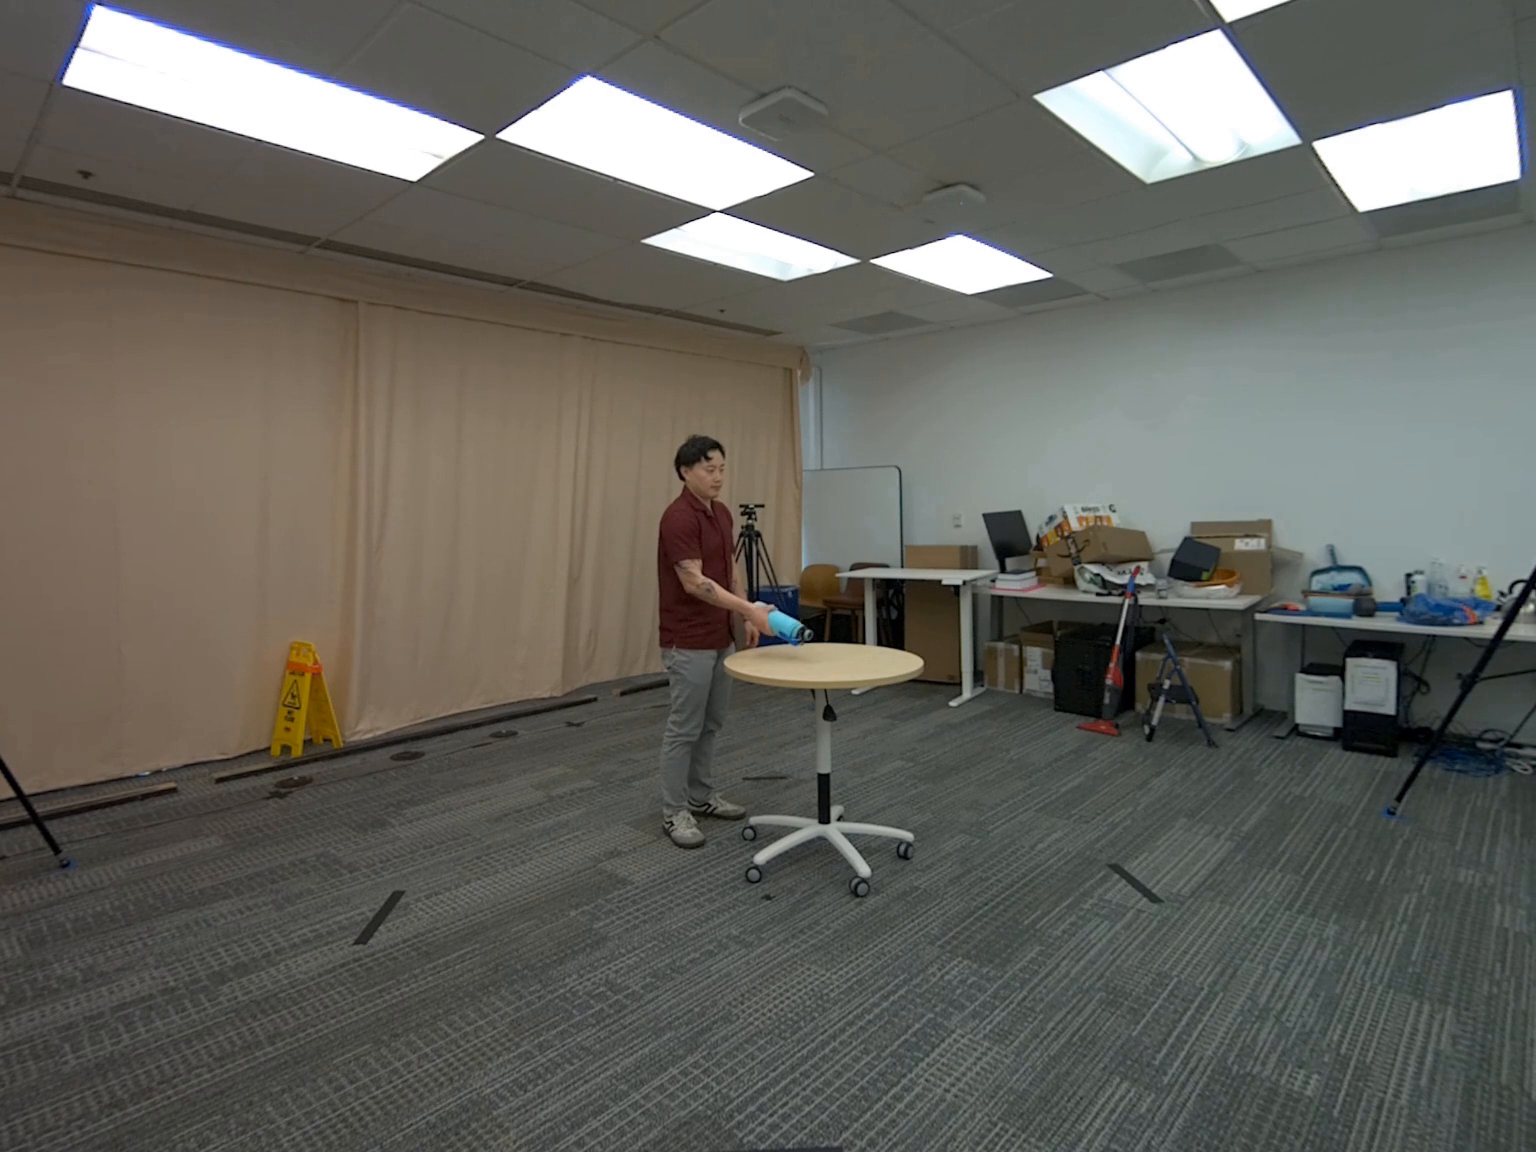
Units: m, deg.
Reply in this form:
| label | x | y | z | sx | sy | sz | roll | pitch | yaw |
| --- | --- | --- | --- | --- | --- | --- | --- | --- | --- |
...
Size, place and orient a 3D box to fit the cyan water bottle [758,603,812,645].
| label | x | y | z | sx | sy | sz | roll | pitch | yaw |
| --- | --- | --- | --- | --- | --- | --- | --- | --- | --- |
| cyan water bottle | 0.064 | 0.163 | 3.325 | 0.089 | 0.092 | 0.294 | -4 | 23 | -45 |
